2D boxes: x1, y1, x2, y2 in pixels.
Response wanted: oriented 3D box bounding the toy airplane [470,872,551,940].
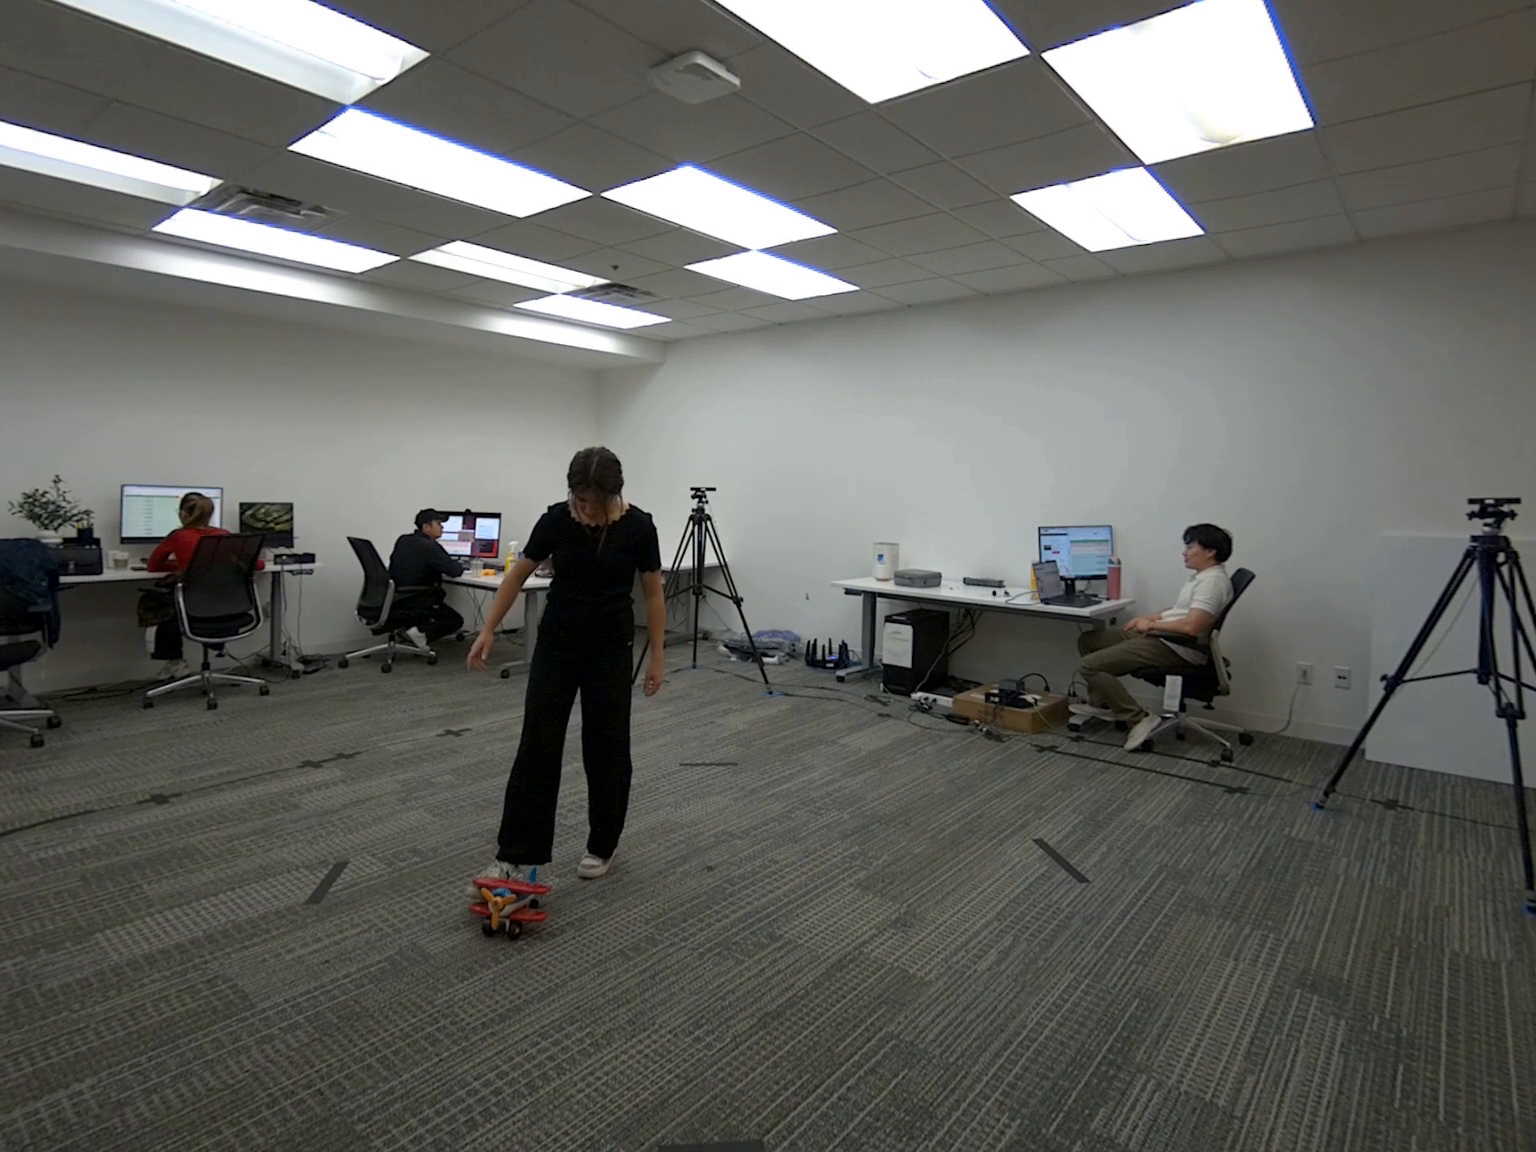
[{"bbox_3d":[-0.830,1.023,2.696,0.247,0.156,0.264,-1,6,-16],"label":"toy airplane"}]
